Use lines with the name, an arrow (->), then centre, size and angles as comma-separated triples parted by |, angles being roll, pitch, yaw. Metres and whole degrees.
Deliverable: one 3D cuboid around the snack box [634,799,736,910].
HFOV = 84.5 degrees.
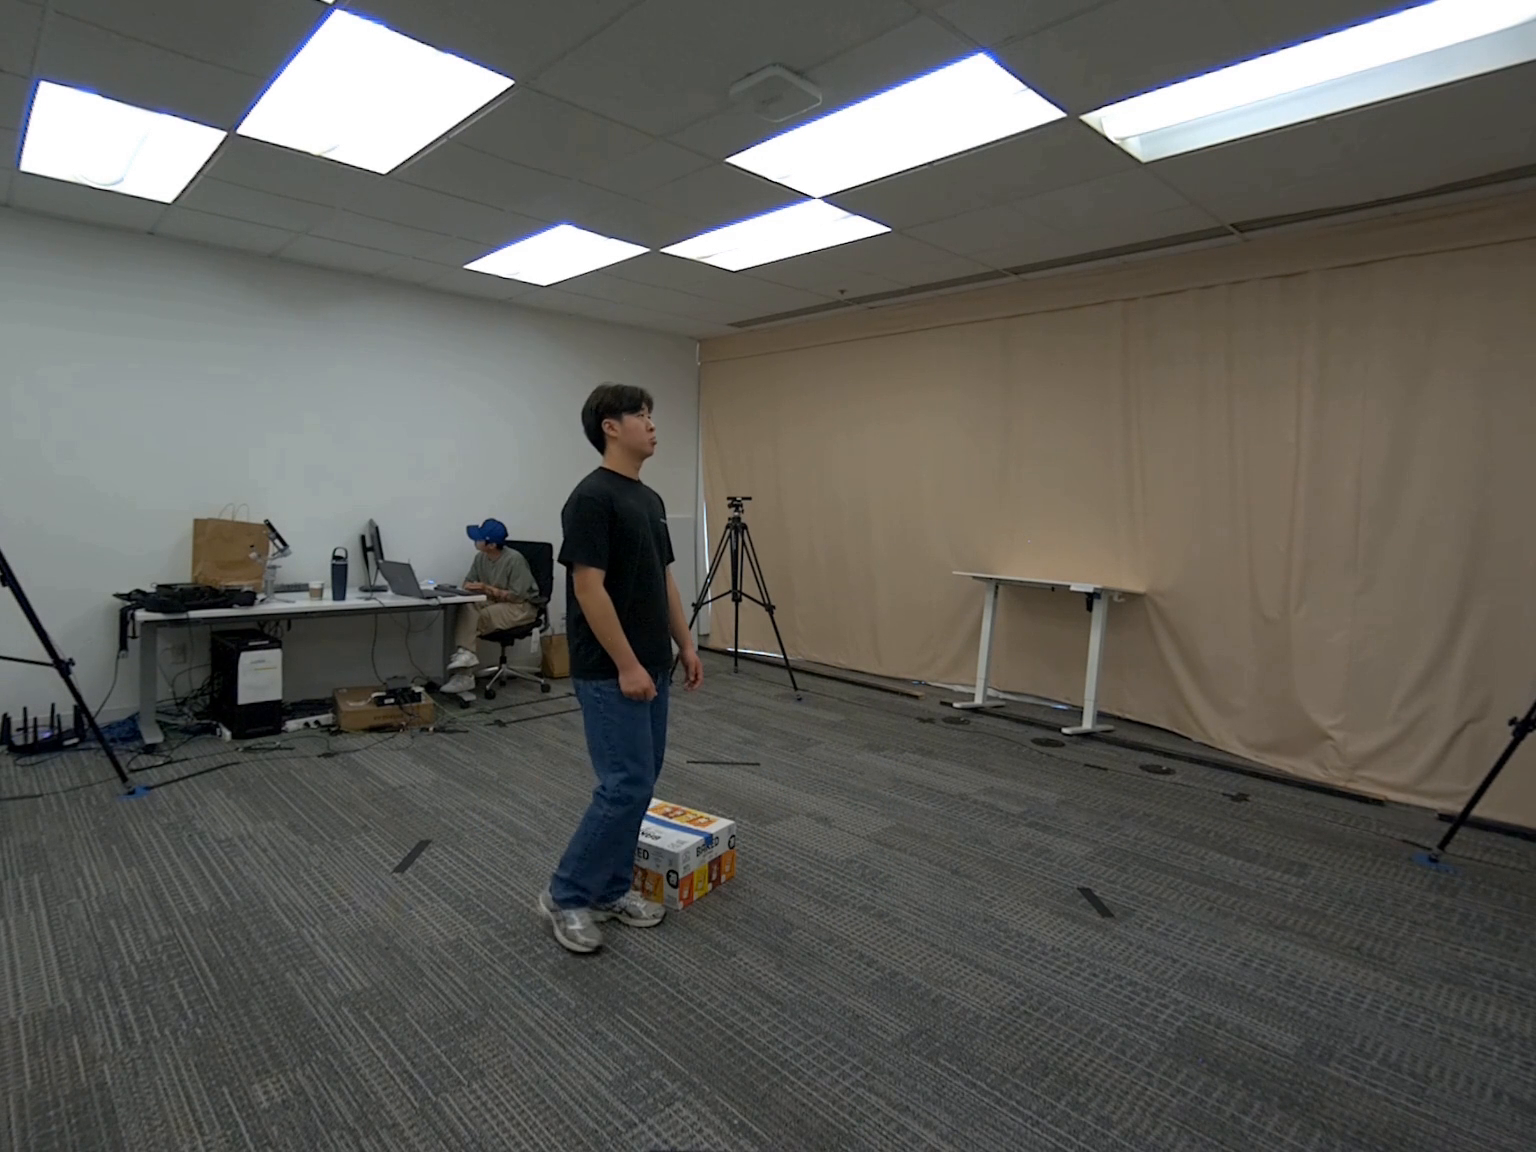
snack box -> -0.385, 1.004, 3.071 | 0.415, 0.205, 0.333 | 5, 6, 33
